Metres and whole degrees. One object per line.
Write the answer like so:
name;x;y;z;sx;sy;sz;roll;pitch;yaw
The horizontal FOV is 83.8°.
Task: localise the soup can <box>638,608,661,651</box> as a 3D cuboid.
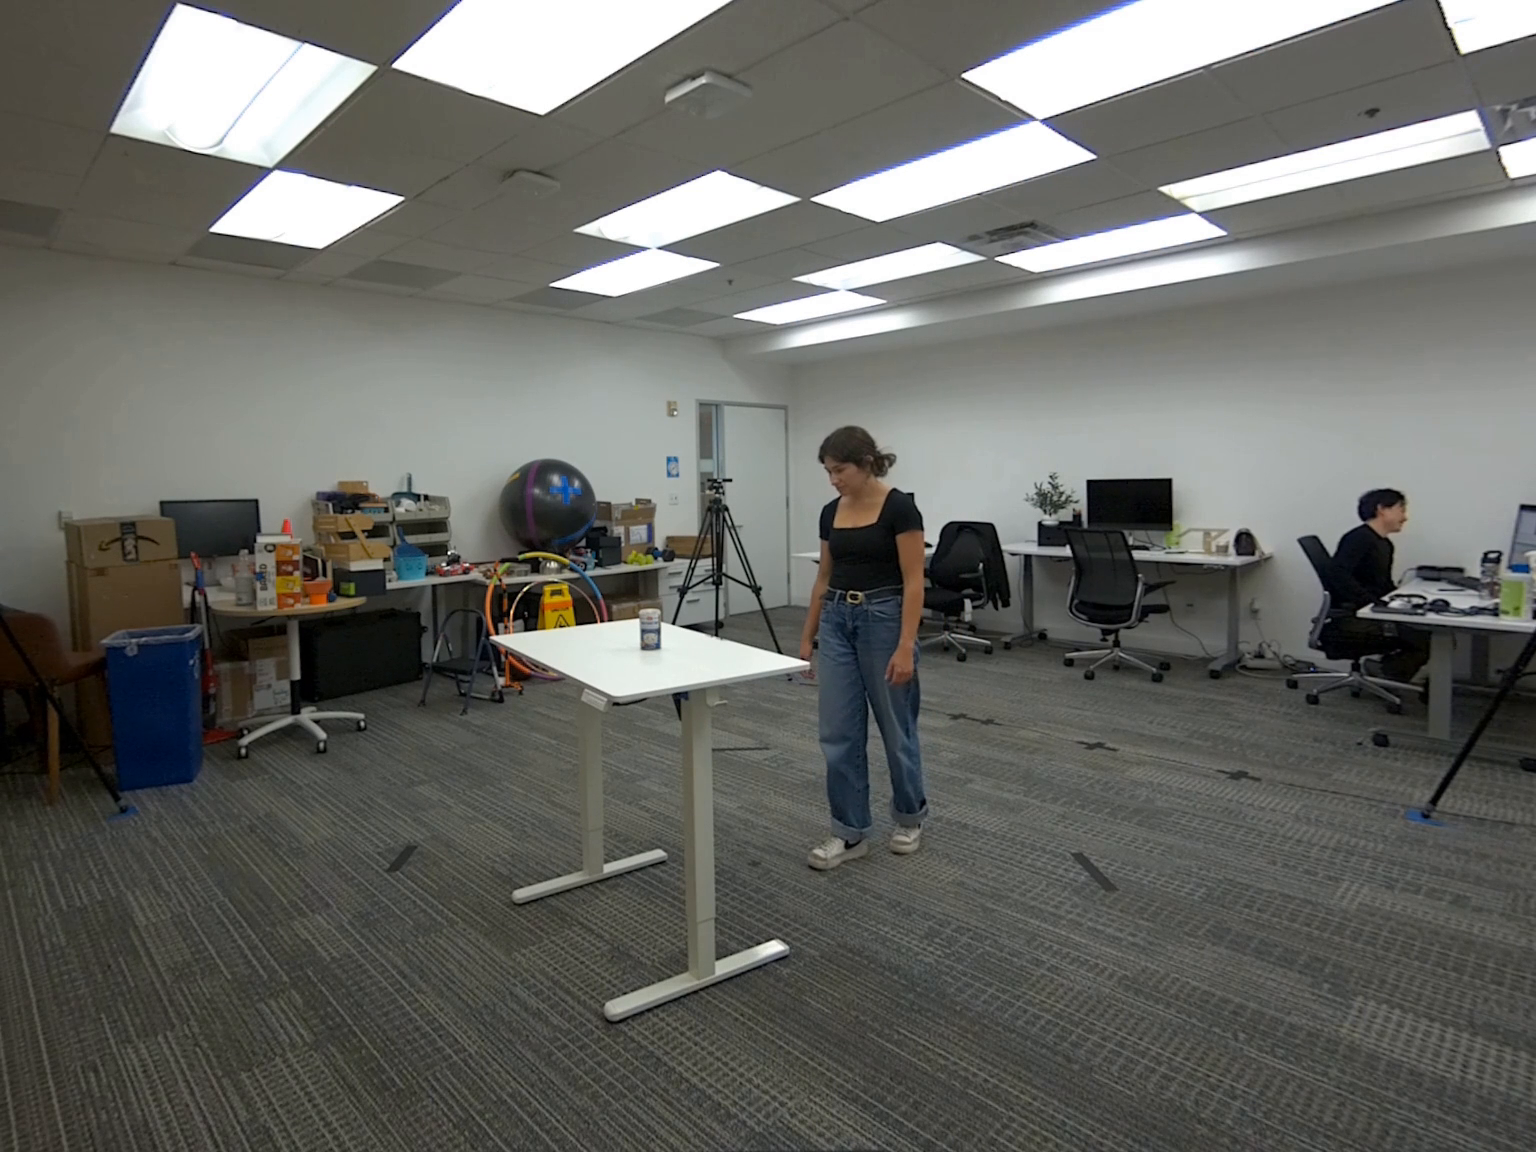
soup can;-0.361;0.168;2.625;0.067;0.121;0.067;-1;3;-2
